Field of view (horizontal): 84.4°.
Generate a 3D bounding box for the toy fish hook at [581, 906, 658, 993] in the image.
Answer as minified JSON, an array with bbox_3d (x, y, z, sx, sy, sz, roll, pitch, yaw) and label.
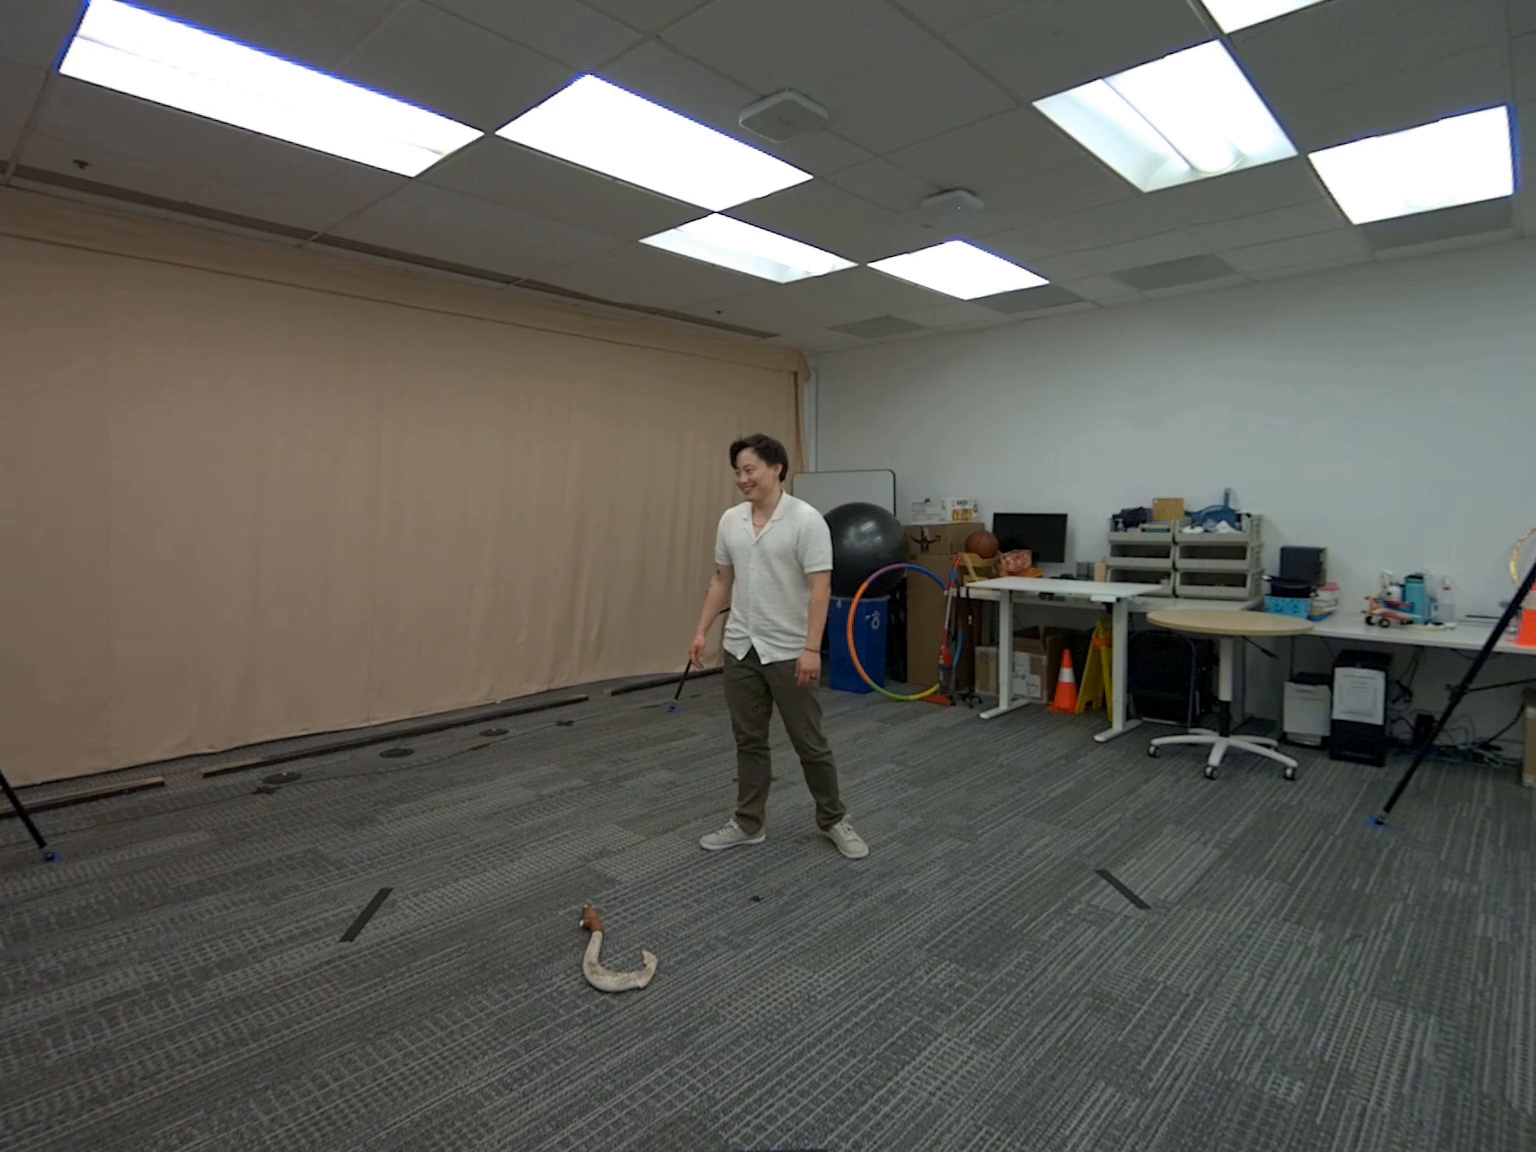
[{"bbox_3d":[-0.482,1.160,2.644,0.220,0.048,0.517,7,3,-19],"label":"toy fish hook"}]
